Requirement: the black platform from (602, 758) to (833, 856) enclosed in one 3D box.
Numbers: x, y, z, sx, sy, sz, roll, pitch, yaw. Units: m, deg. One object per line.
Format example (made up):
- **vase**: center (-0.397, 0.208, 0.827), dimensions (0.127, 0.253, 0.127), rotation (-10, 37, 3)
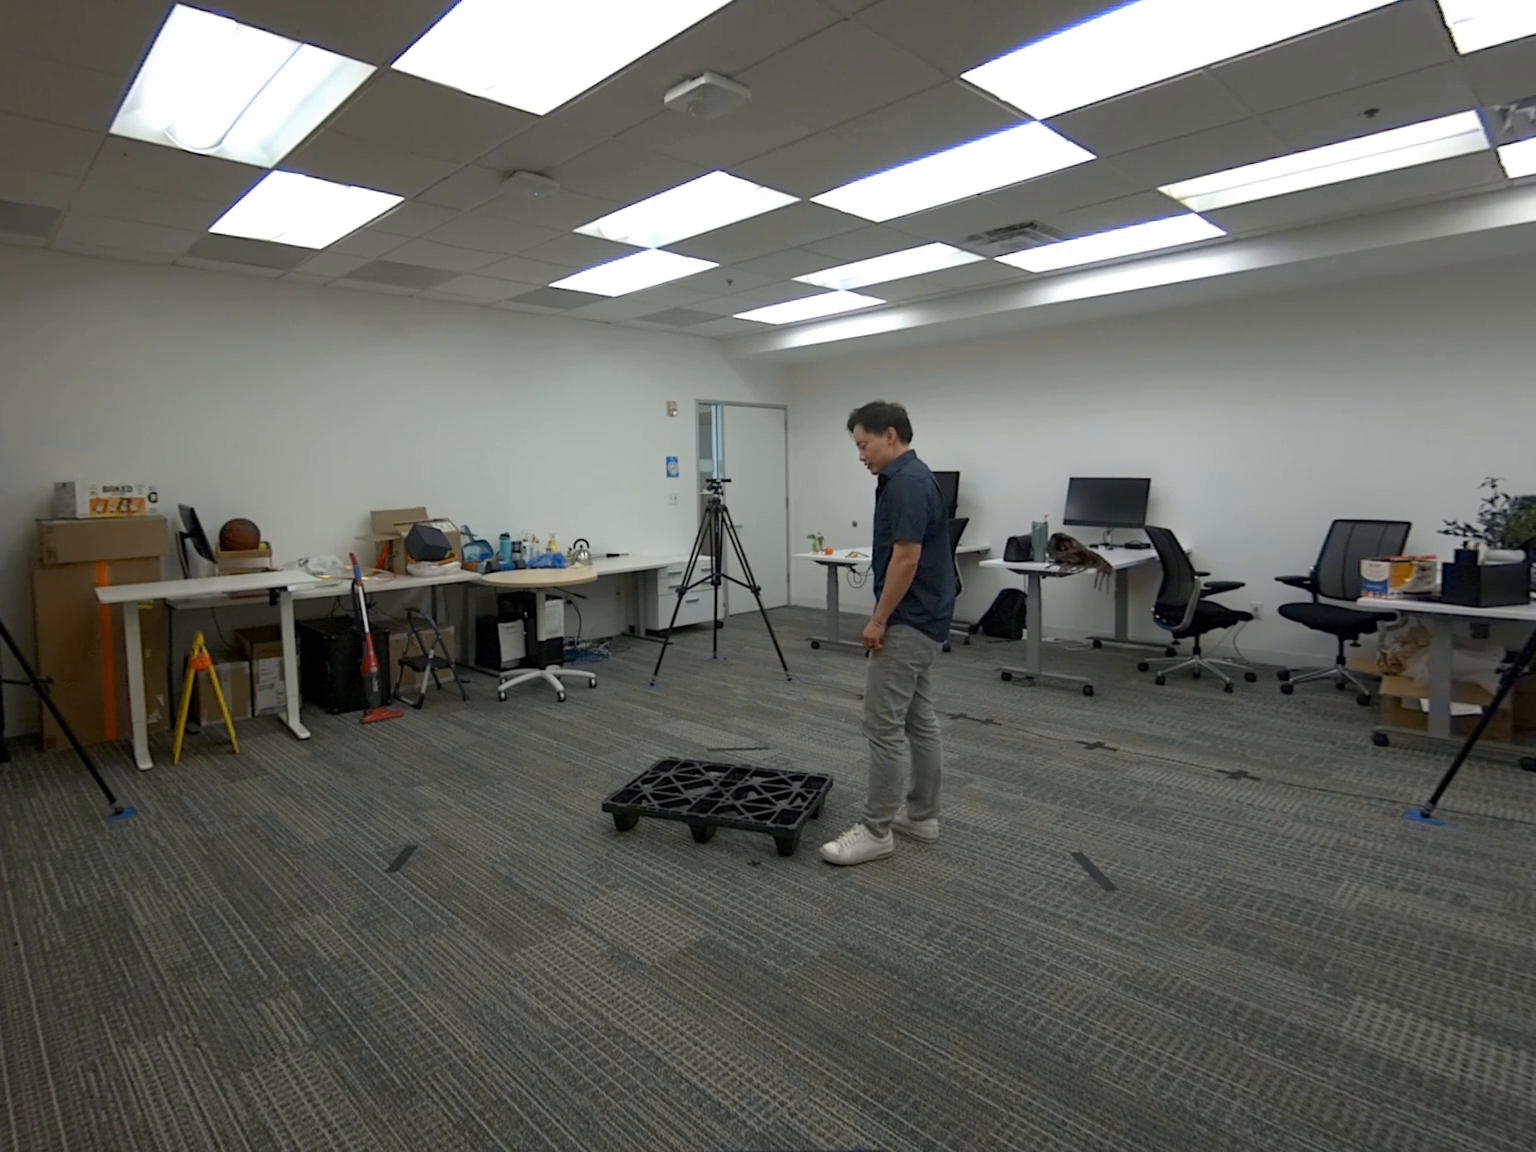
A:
- **black platform**: center (-0.191, 0.933, 3.502), dimensions (0.821, 0.143, 0.596), rotation (1, 6, 20)
